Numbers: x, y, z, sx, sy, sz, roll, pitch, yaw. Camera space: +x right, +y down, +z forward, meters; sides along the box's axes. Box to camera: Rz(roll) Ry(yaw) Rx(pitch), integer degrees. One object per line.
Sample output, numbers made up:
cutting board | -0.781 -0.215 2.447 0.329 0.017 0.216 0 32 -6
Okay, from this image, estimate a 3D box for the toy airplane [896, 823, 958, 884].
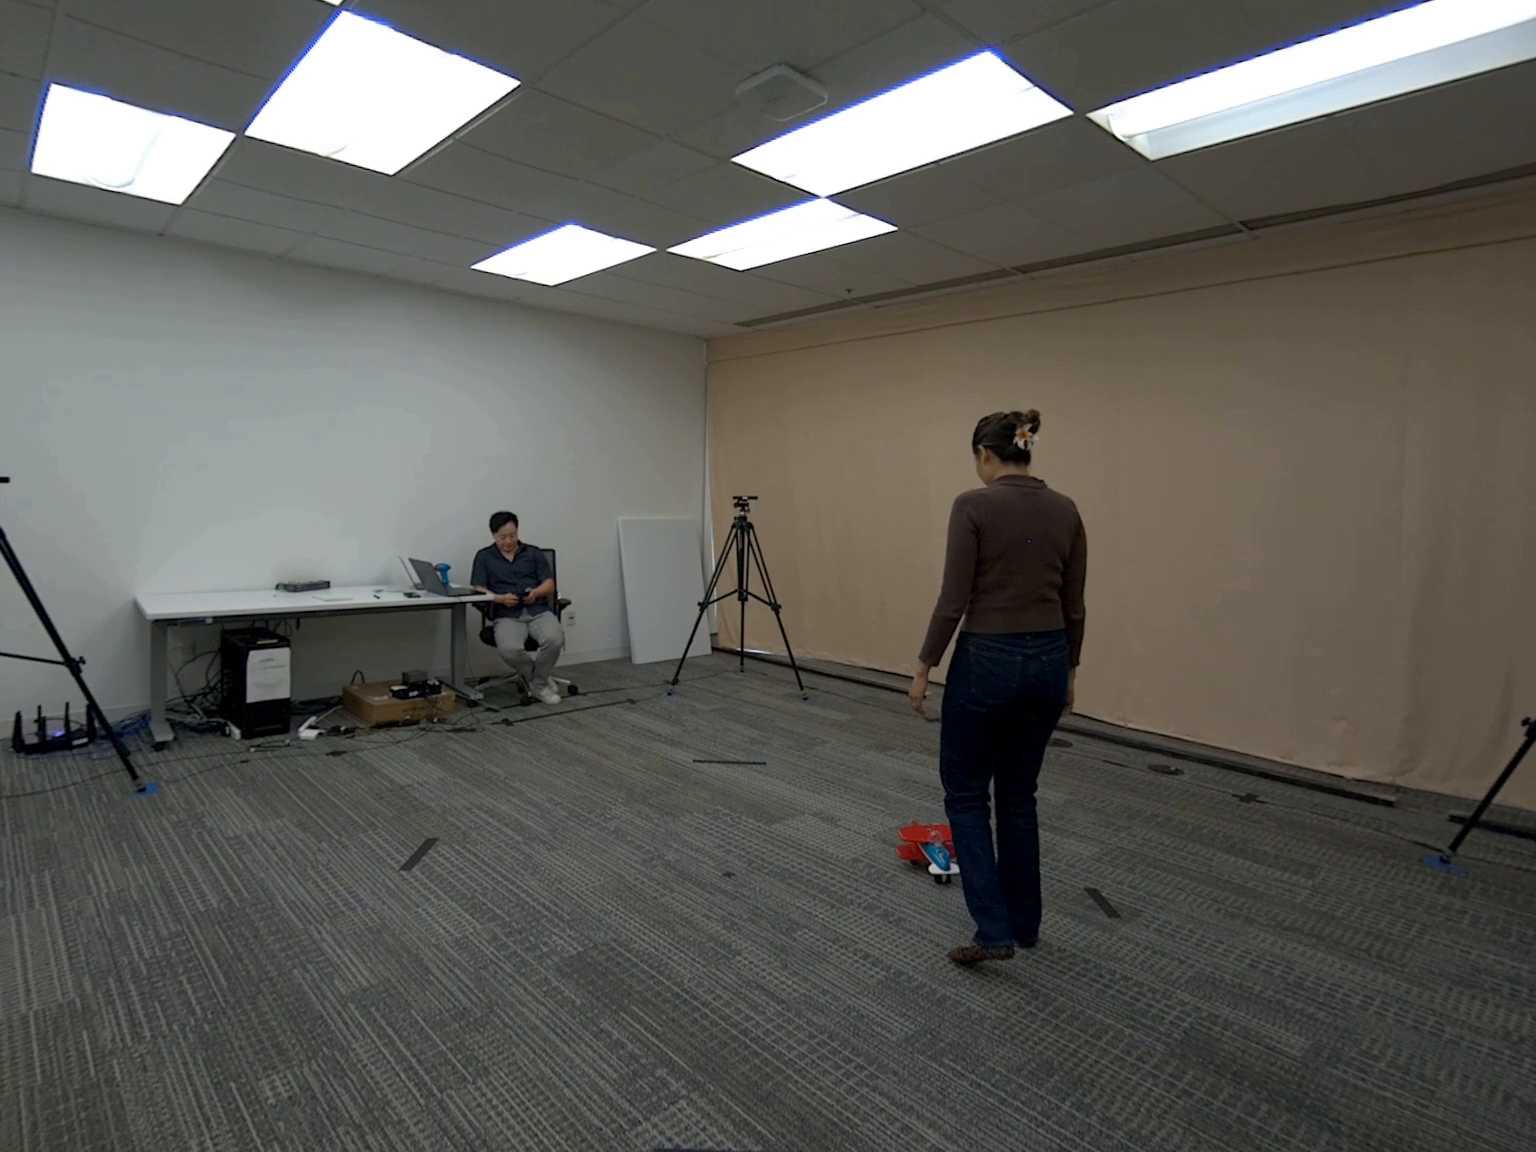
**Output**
toy airplane | 0.632 1.041 3.167 0.245 0.156 0.265 -2 5 -39
